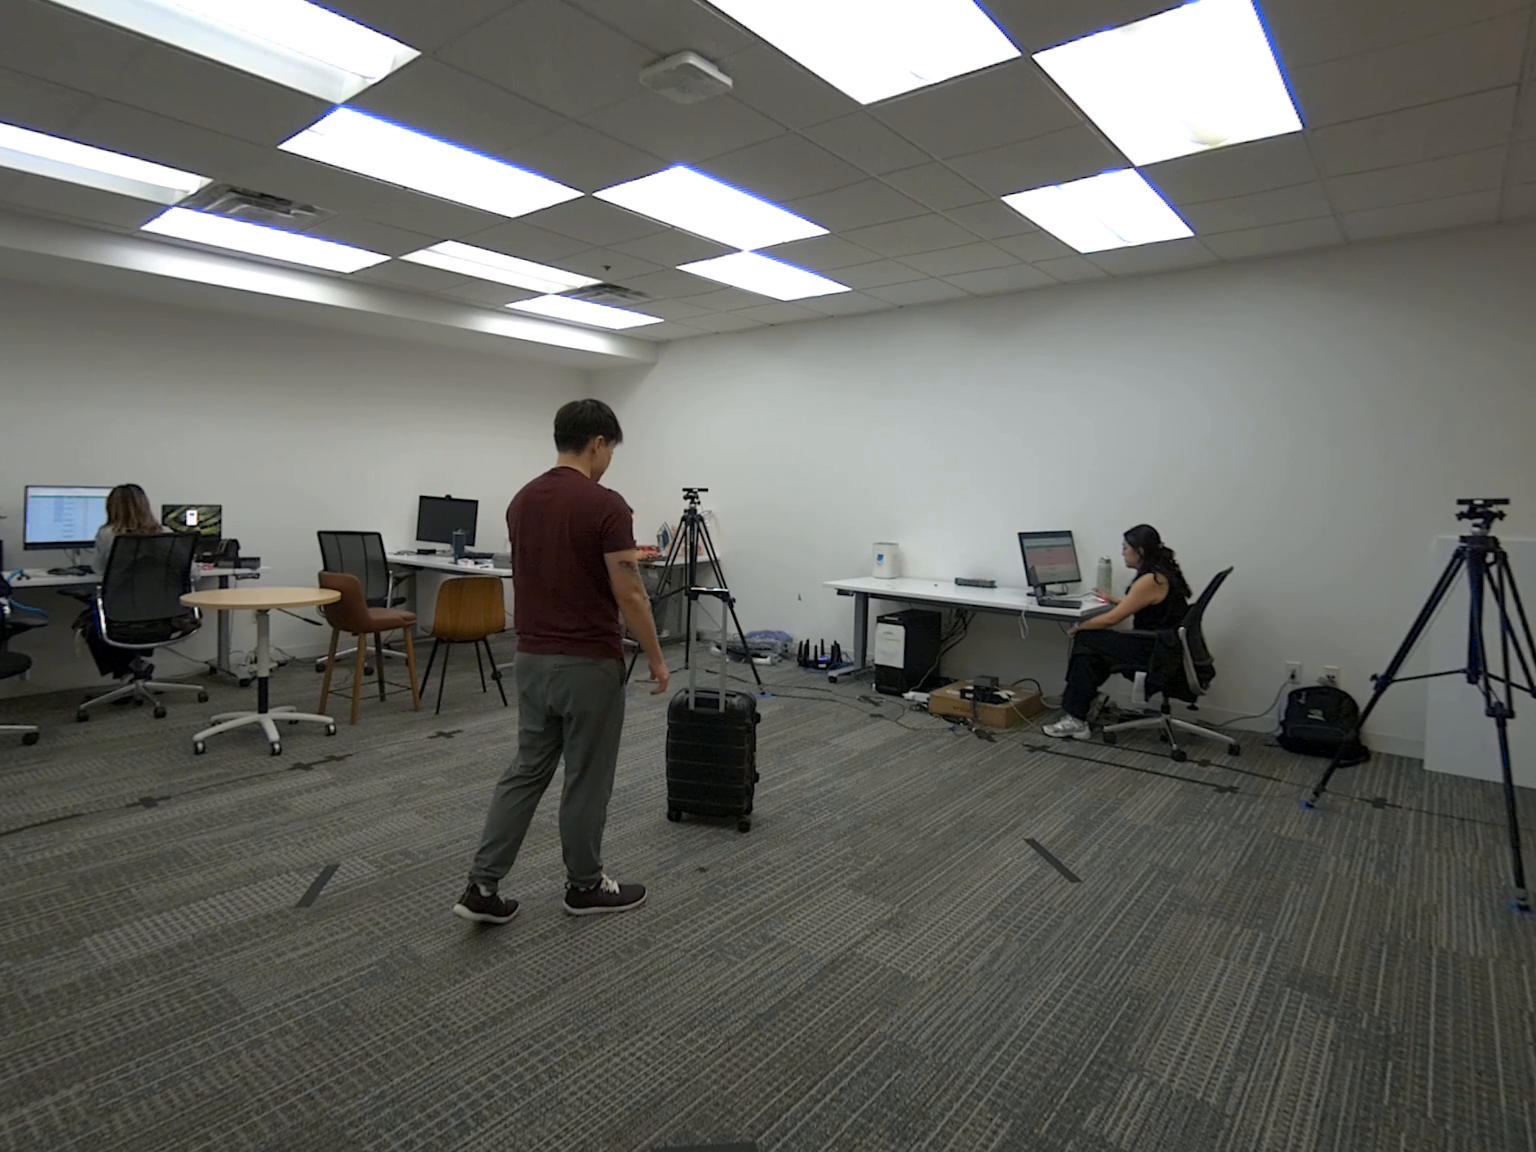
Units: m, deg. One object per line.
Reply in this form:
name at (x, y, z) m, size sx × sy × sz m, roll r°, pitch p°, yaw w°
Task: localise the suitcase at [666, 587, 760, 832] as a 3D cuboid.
suitcase at (-0.242, 0.542, 3.597) m, size 0.389 × 0.978 × 0.253 m, roll 1°, pitch 0°, yaw 13°
